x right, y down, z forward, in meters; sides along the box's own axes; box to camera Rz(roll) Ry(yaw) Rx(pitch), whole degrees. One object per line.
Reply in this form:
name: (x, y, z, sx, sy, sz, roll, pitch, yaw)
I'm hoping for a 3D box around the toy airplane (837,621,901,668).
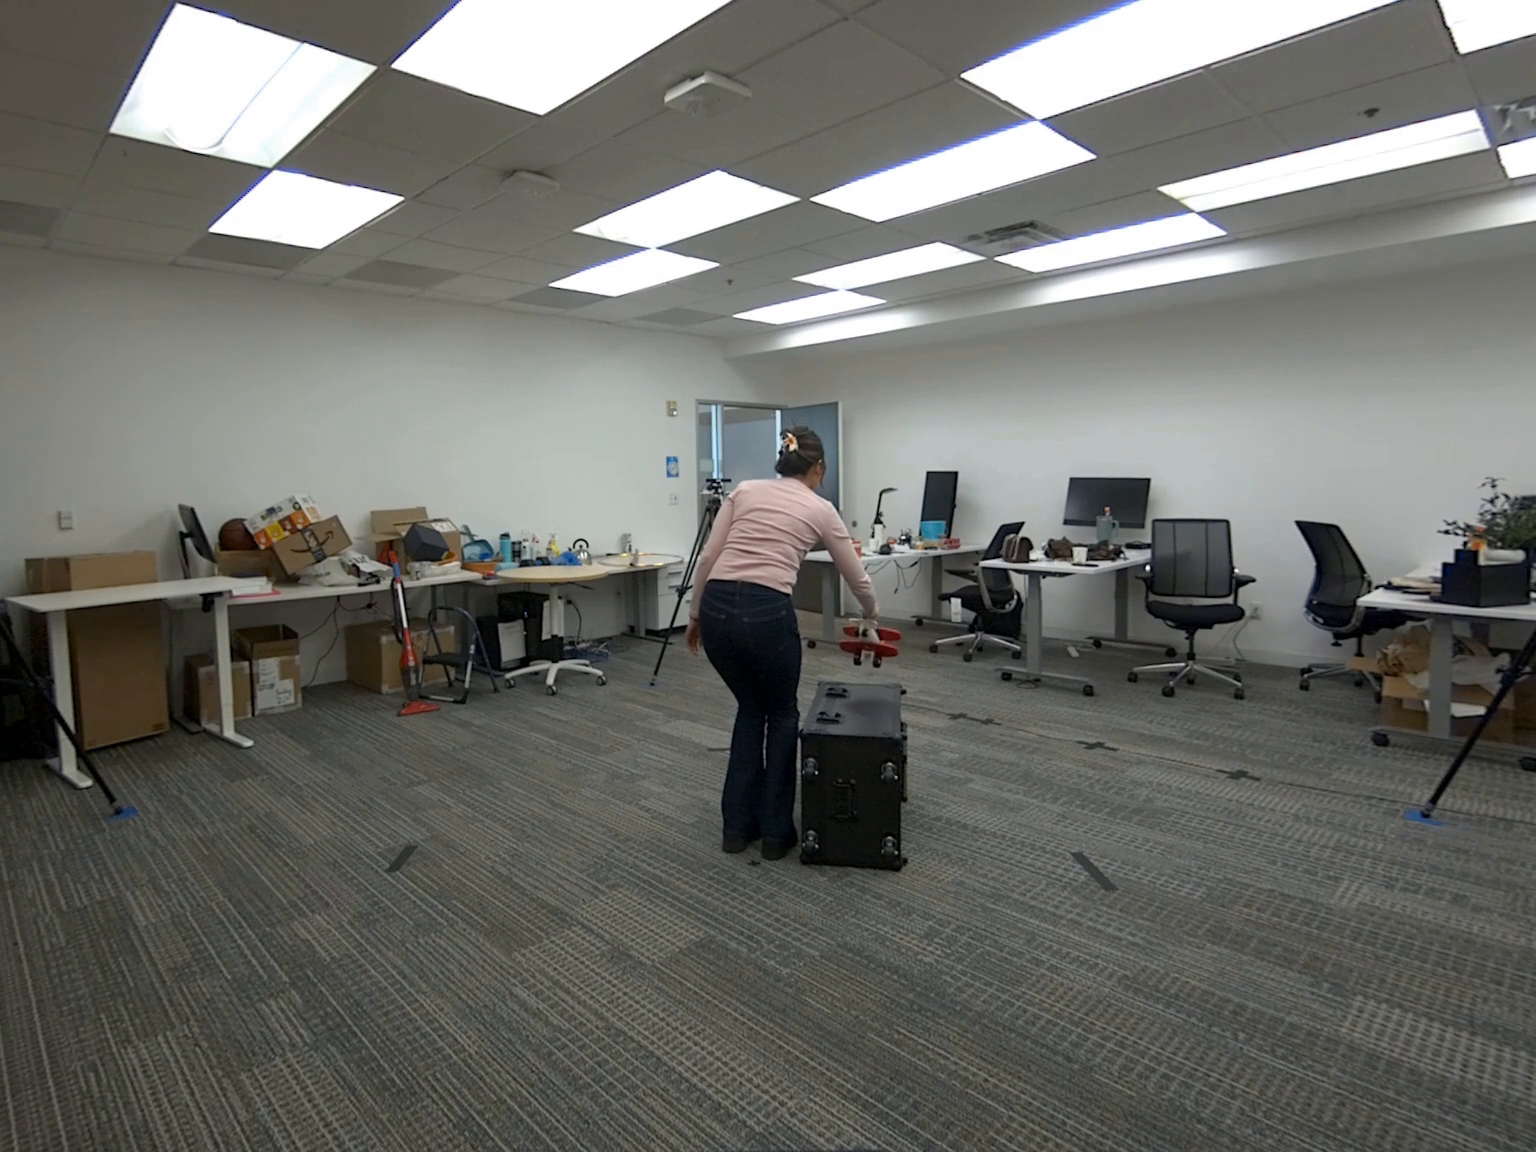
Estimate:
toy airplane: (0.443, 0.267, 3.627, 0.253, 0.255, 0.158, 24, 46, 5)
